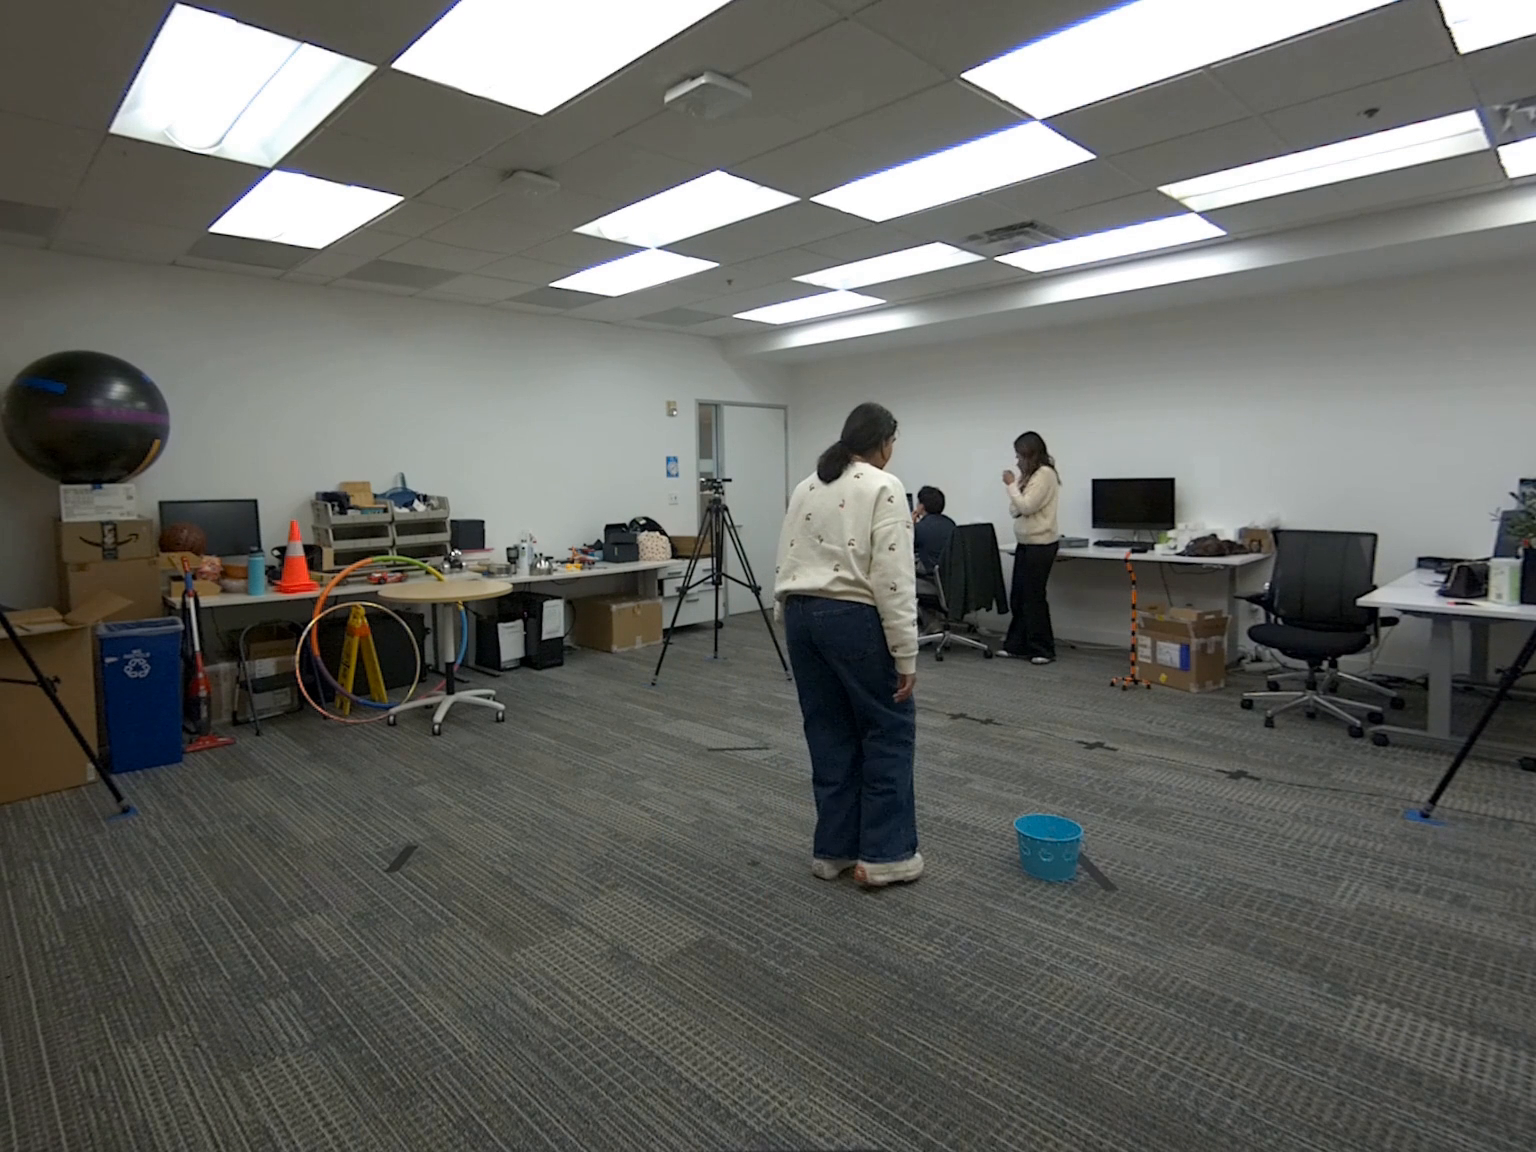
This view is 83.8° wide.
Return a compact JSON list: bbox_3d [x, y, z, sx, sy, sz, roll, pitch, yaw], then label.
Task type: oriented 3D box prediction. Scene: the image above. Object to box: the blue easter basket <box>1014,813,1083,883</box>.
[{"bbox_3d":[0.978,0.952,3.016,0.243,0.155,0.245,-2,5,-2],"label":"blue easter basket"}]
